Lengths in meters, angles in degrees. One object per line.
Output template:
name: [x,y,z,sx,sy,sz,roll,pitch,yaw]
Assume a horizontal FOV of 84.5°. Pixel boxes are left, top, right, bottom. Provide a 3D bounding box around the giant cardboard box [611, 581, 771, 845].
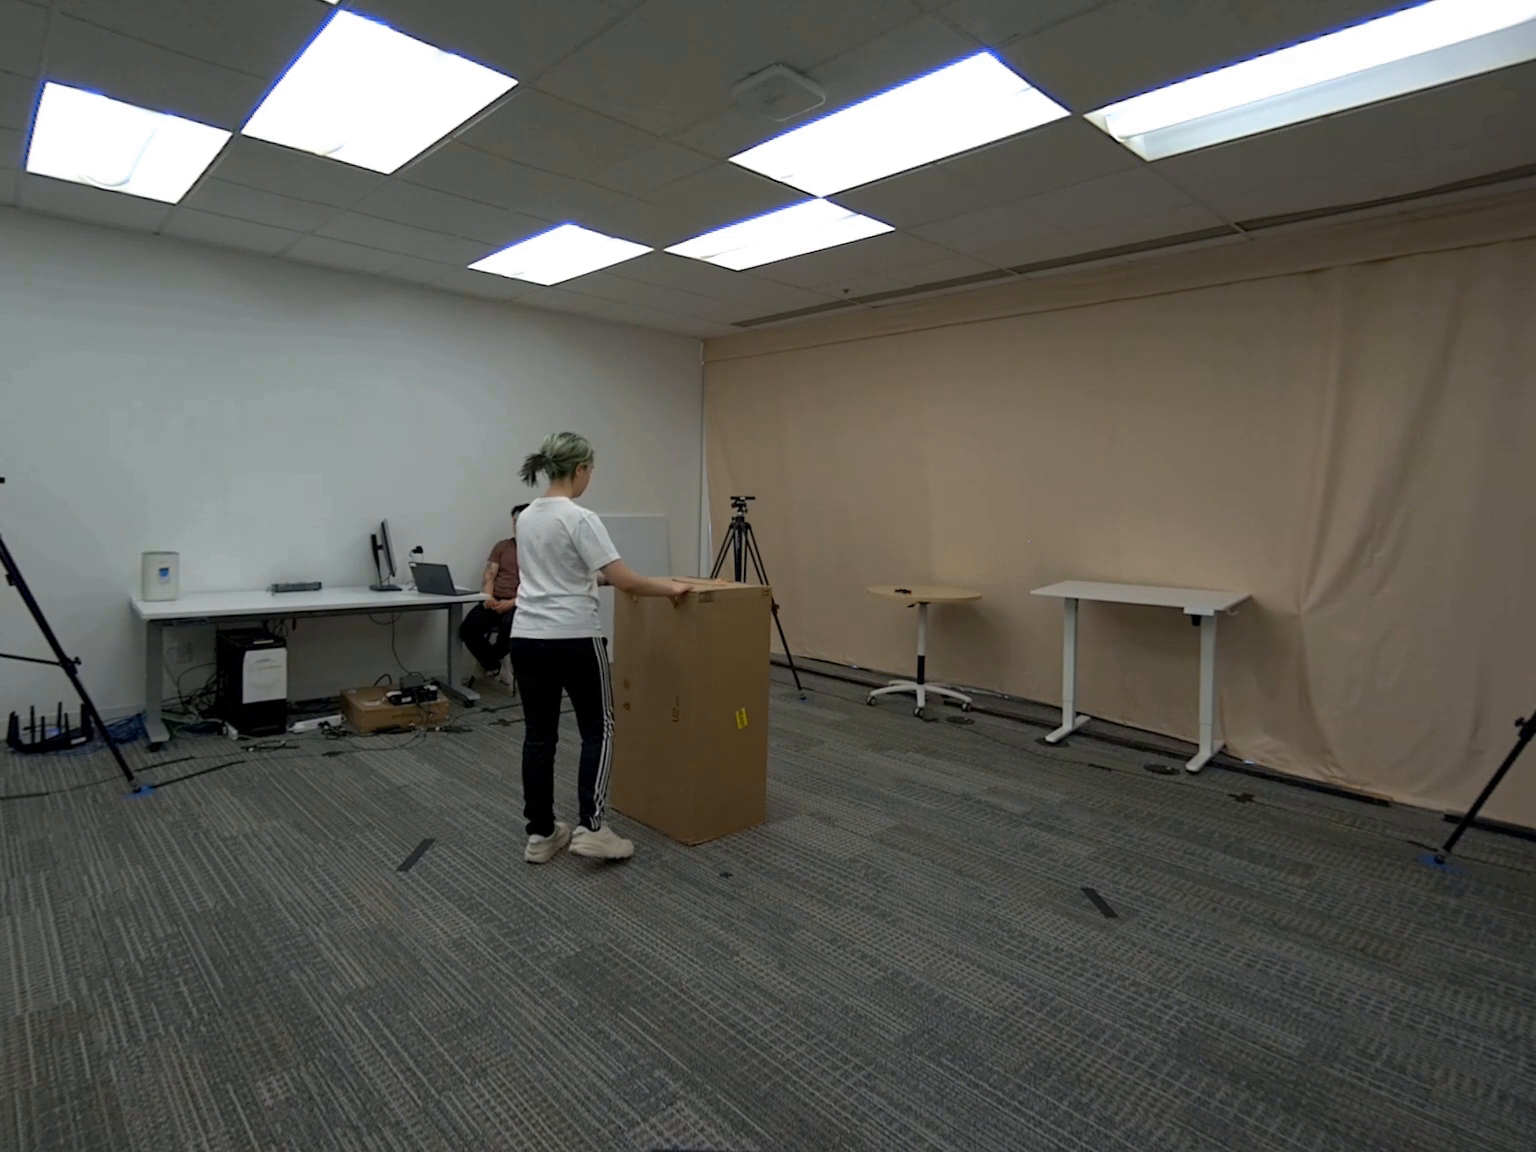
giant cardboard box: [-0.347,0.543,3.680,0.436,1.025,0.599,-1,4,-45]
